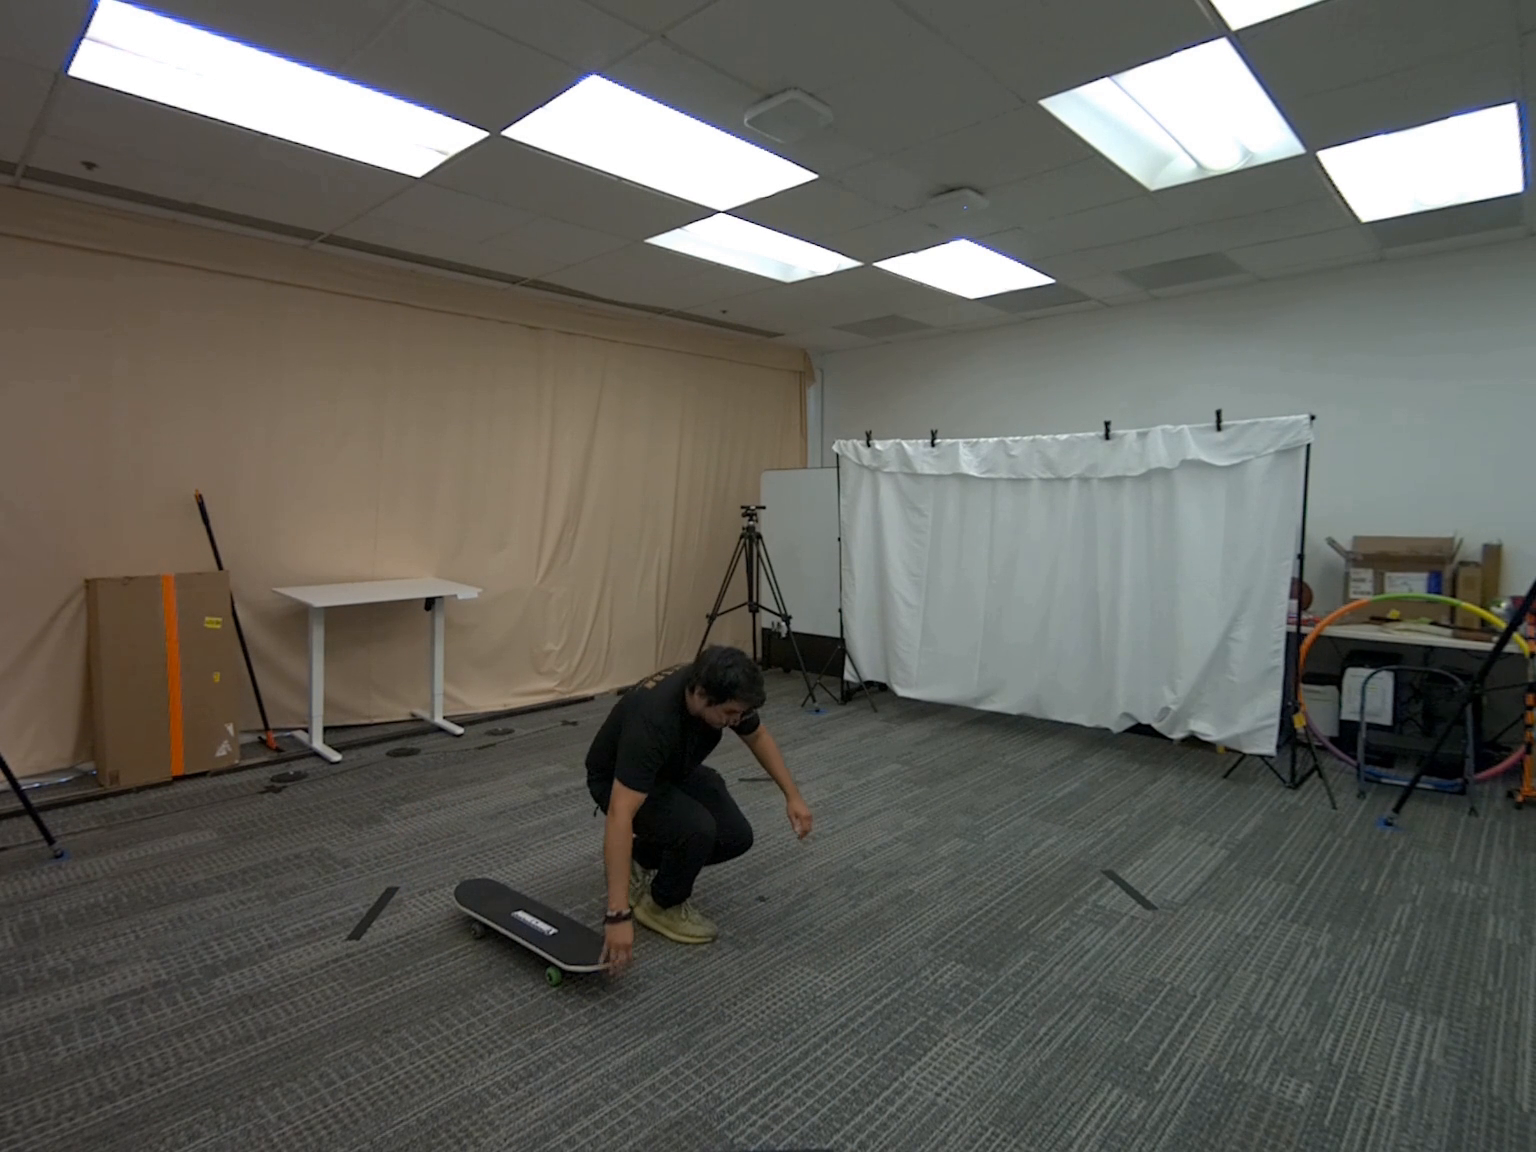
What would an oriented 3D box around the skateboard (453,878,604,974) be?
[{"bbox_3d":[-0.732,1.122,2.648,0.811,0.110,0.187,3,3,41],"label":"skateboard"}]
